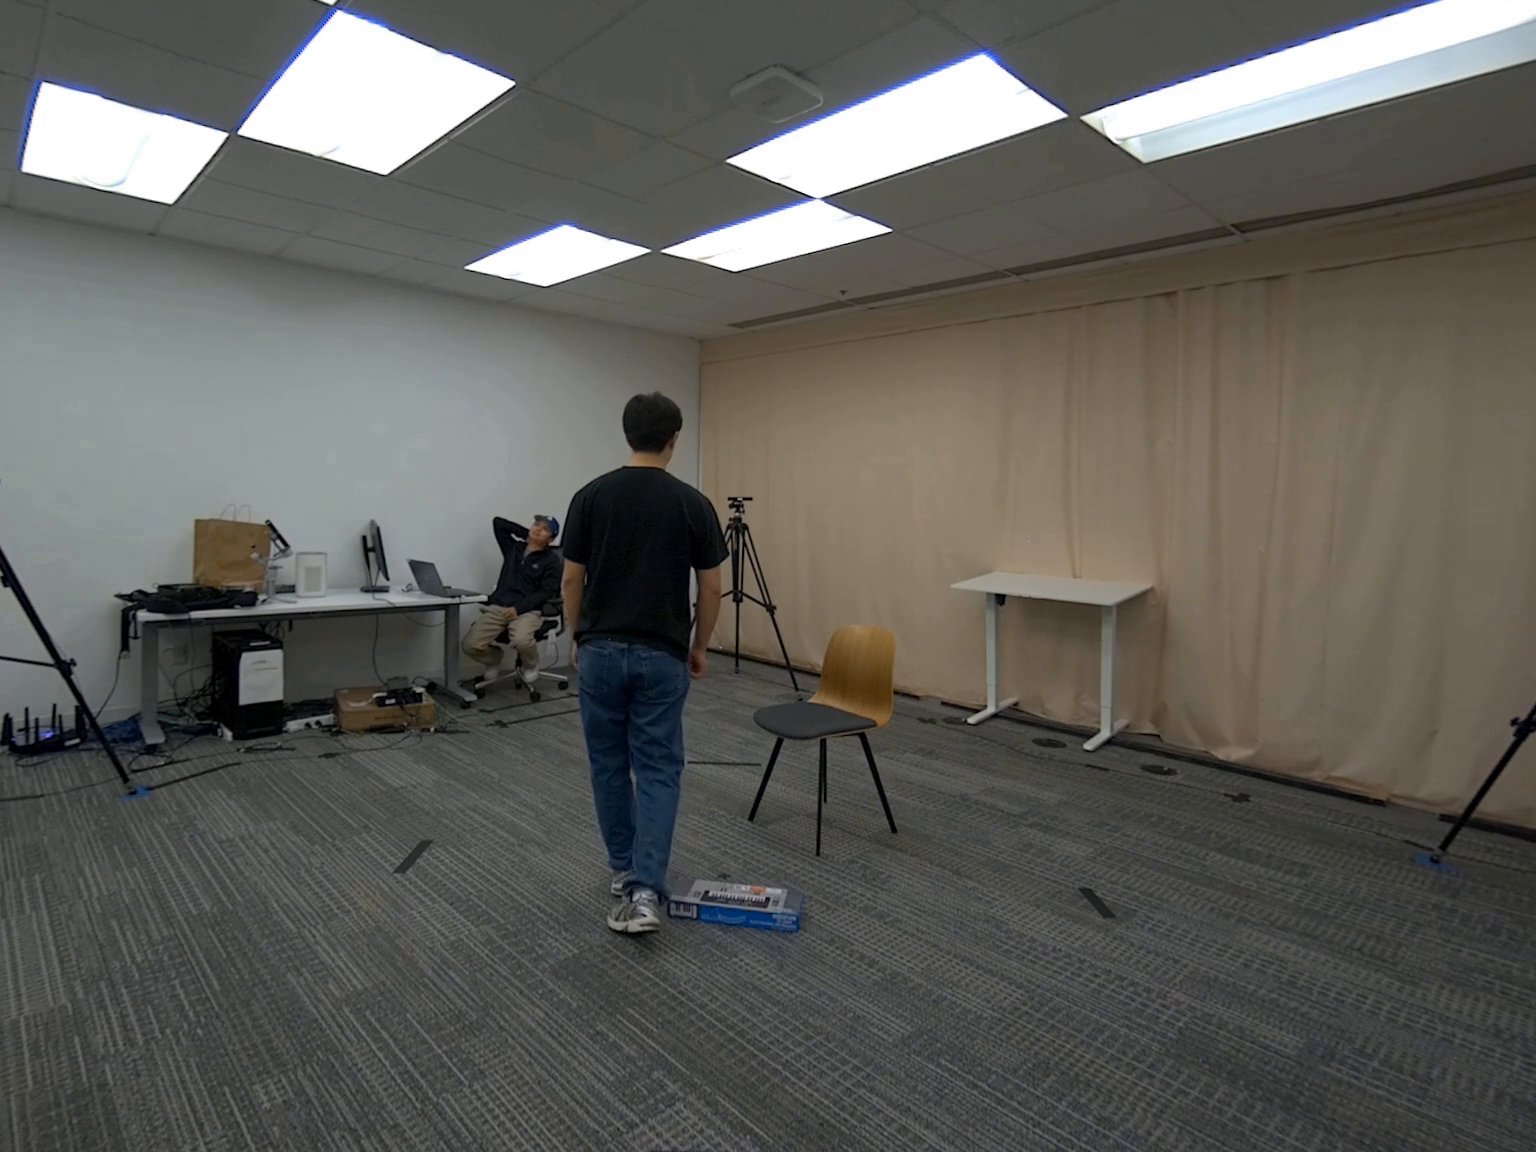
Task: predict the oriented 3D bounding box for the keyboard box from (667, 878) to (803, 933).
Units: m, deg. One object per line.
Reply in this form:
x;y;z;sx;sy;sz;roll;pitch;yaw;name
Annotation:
-0.112;1.106;2.826;0.441;0.059;0.175;2;5;11;keyboard box
